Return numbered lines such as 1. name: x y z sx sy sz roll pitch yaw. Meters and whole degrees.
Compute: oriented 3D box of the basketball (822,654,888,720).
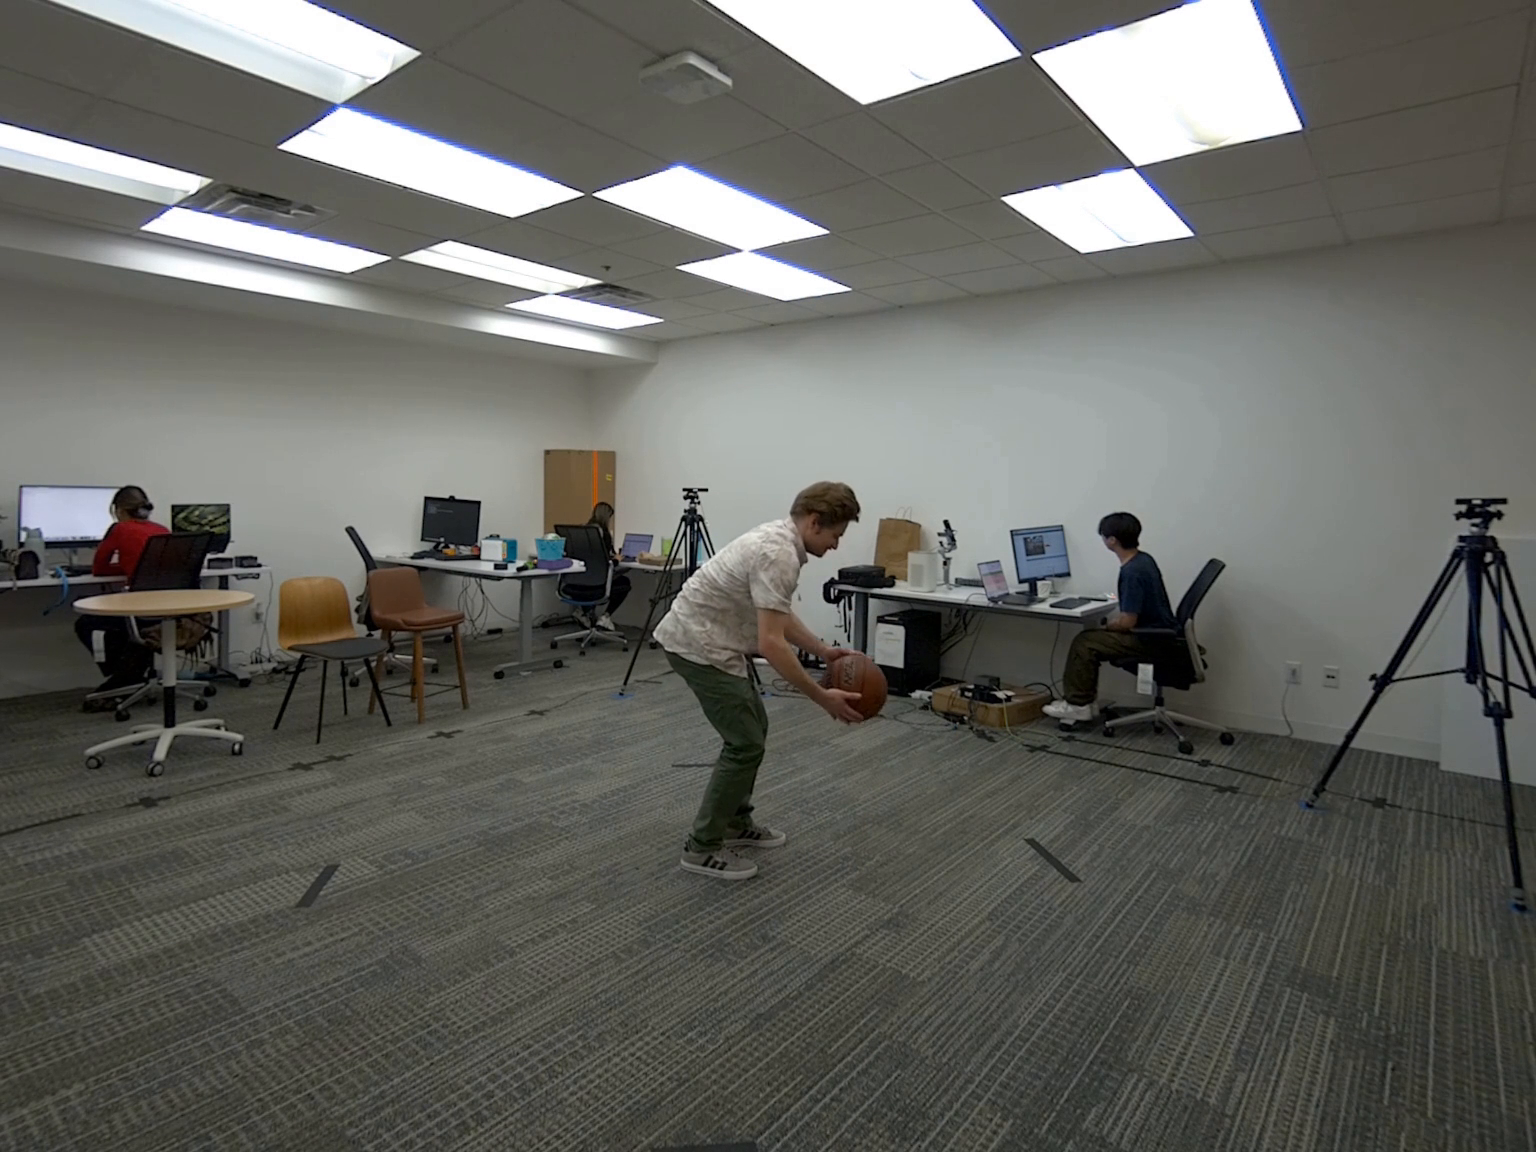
1. basketball: 0.301 0.407 3.063 0.236 0.235 0.237 1 4 -2
